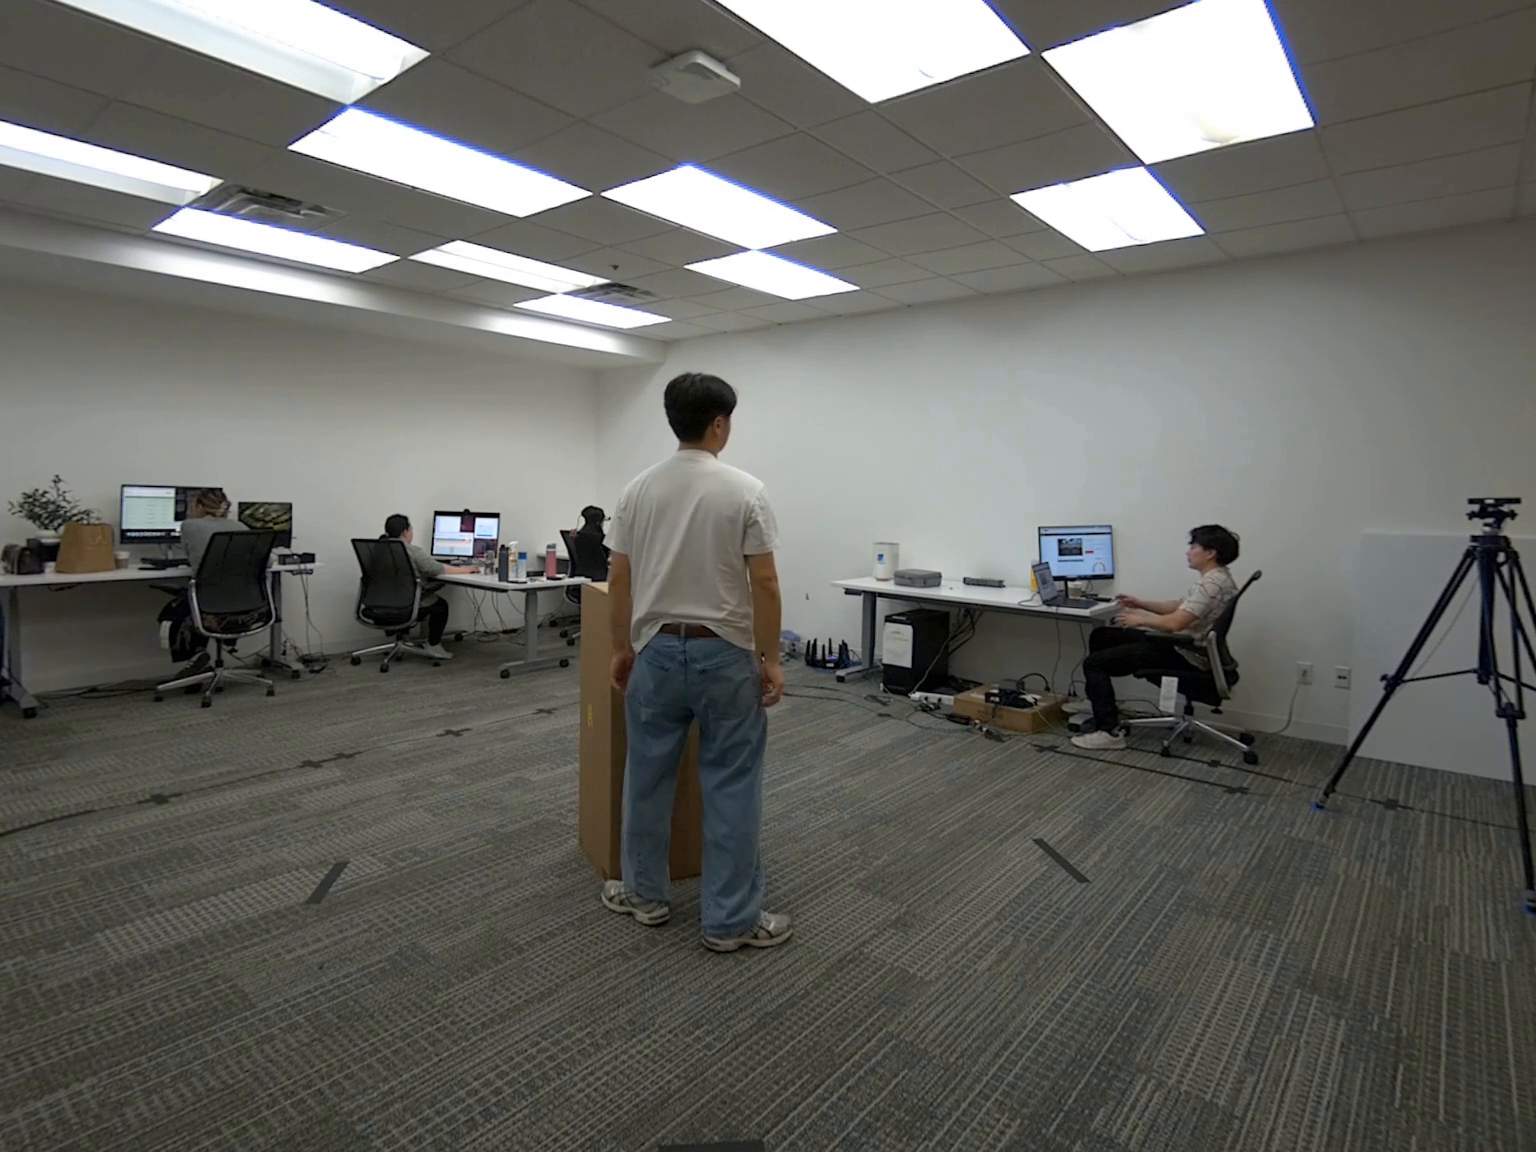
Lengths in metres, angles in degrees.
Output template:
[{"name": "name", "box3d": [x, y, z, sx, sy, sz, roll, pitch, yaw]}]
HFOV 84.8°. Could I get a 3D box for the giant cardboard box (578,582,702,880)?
[{"name": "giant cardboard box", "box3d": [-0.388, 0.544, 3.201, 0.563, 1.023, 0.438, -1, 3, -26]}]
